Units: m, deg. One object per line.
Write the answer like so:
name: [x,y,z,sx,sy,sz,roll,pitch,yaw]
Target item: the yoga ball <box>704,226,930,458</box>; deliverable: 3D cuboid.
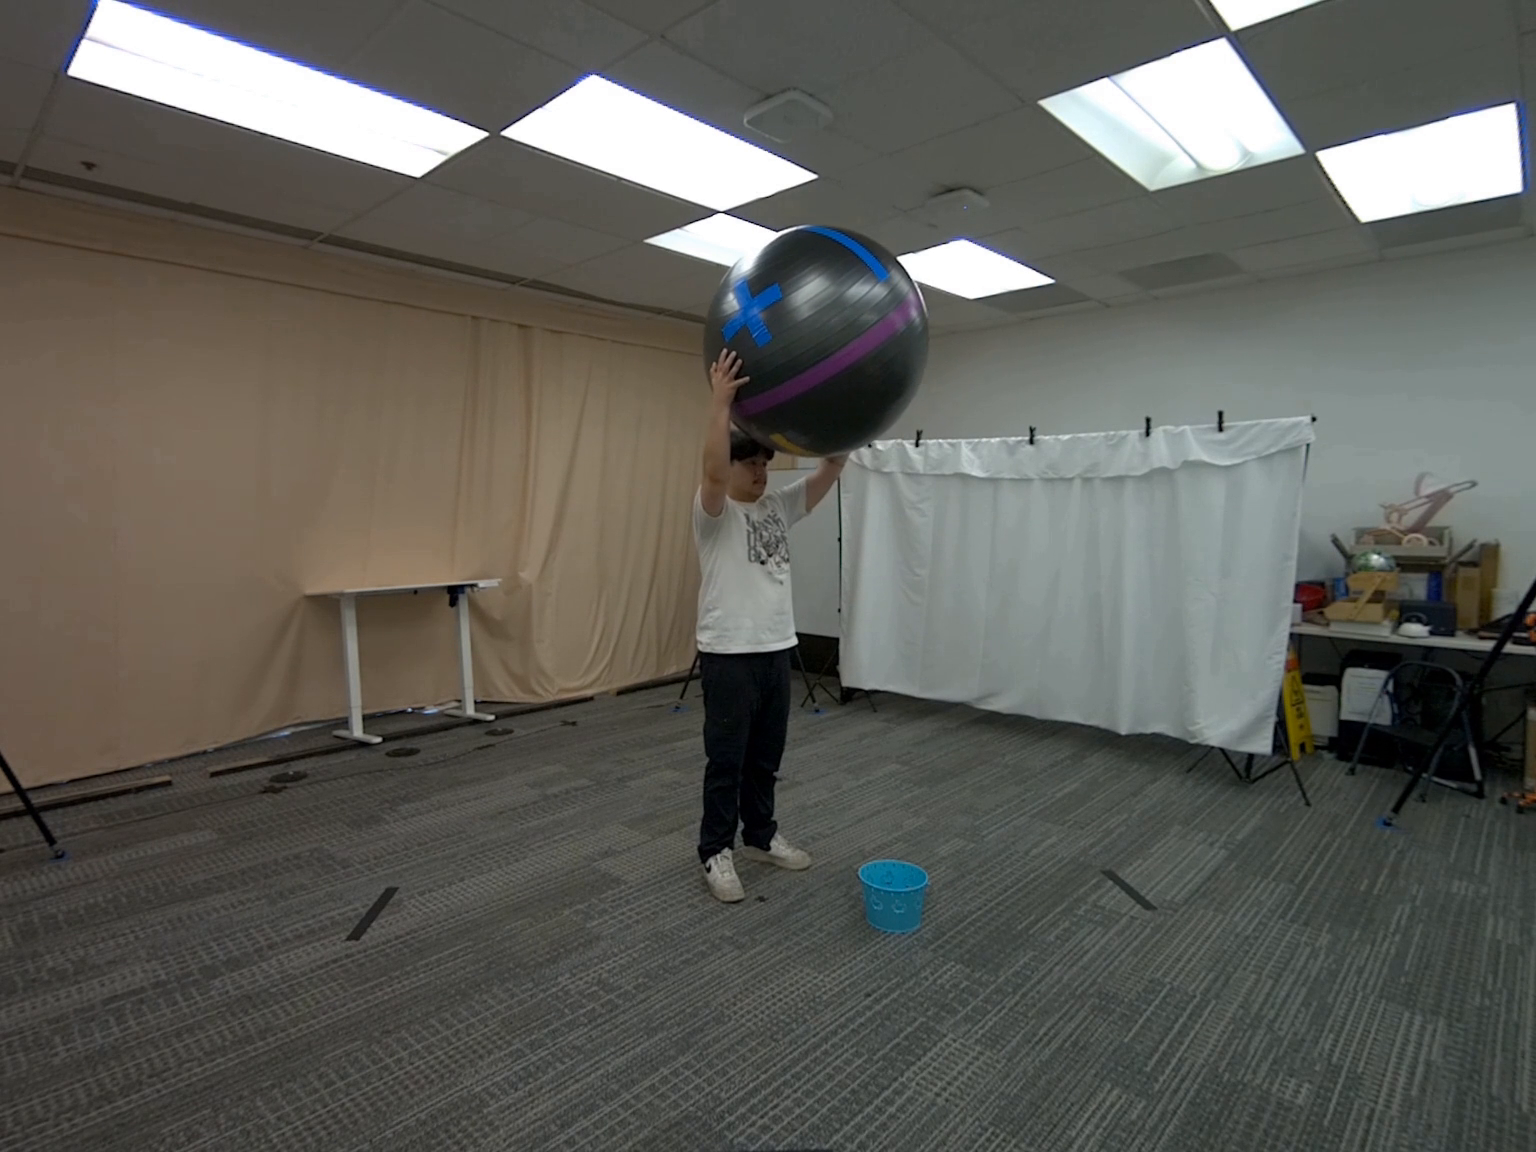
yoga ball: [0.167,-0.775,2.855,0.757,0.756,0.760,0,4,-2]
